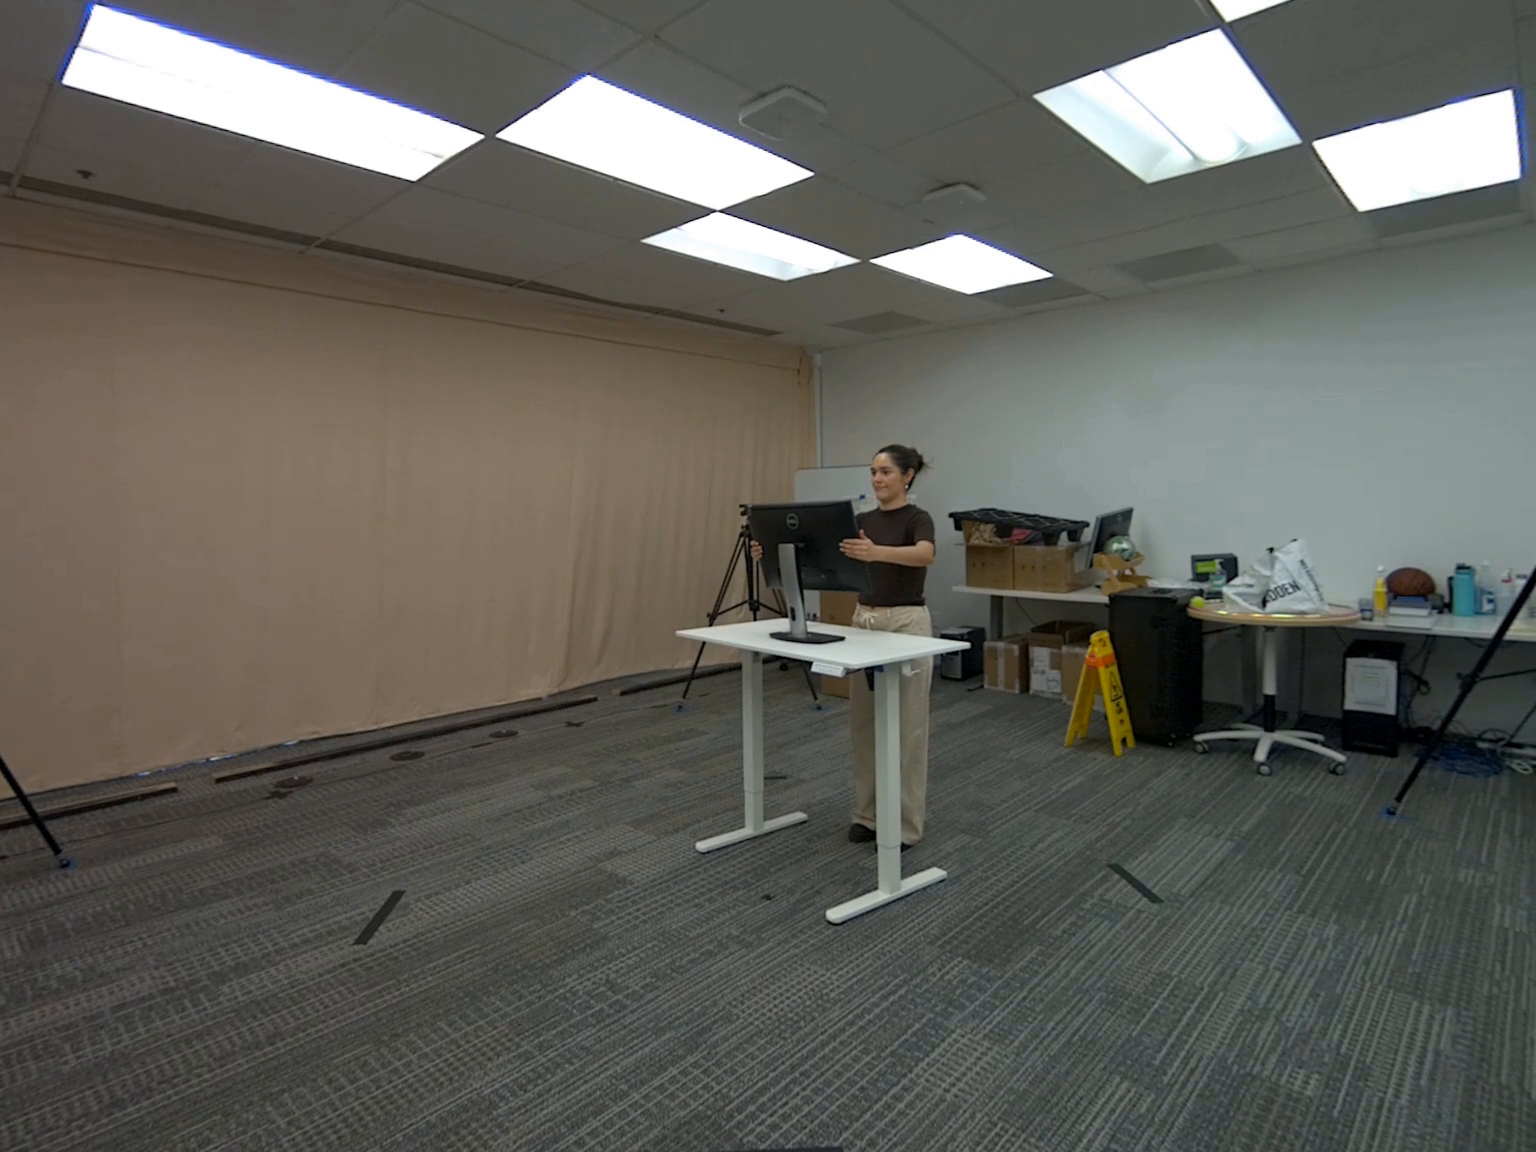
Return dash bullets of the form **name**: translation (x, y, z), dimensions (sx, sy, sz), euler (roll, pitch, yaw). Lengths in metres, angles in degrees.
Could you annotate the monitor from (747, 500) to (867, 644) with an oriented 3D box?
- **monitor**: translation (0.131, -0.015, 3.162), dimensions (0.557, 0.521, 0.182), euler (1, 7, 45)
